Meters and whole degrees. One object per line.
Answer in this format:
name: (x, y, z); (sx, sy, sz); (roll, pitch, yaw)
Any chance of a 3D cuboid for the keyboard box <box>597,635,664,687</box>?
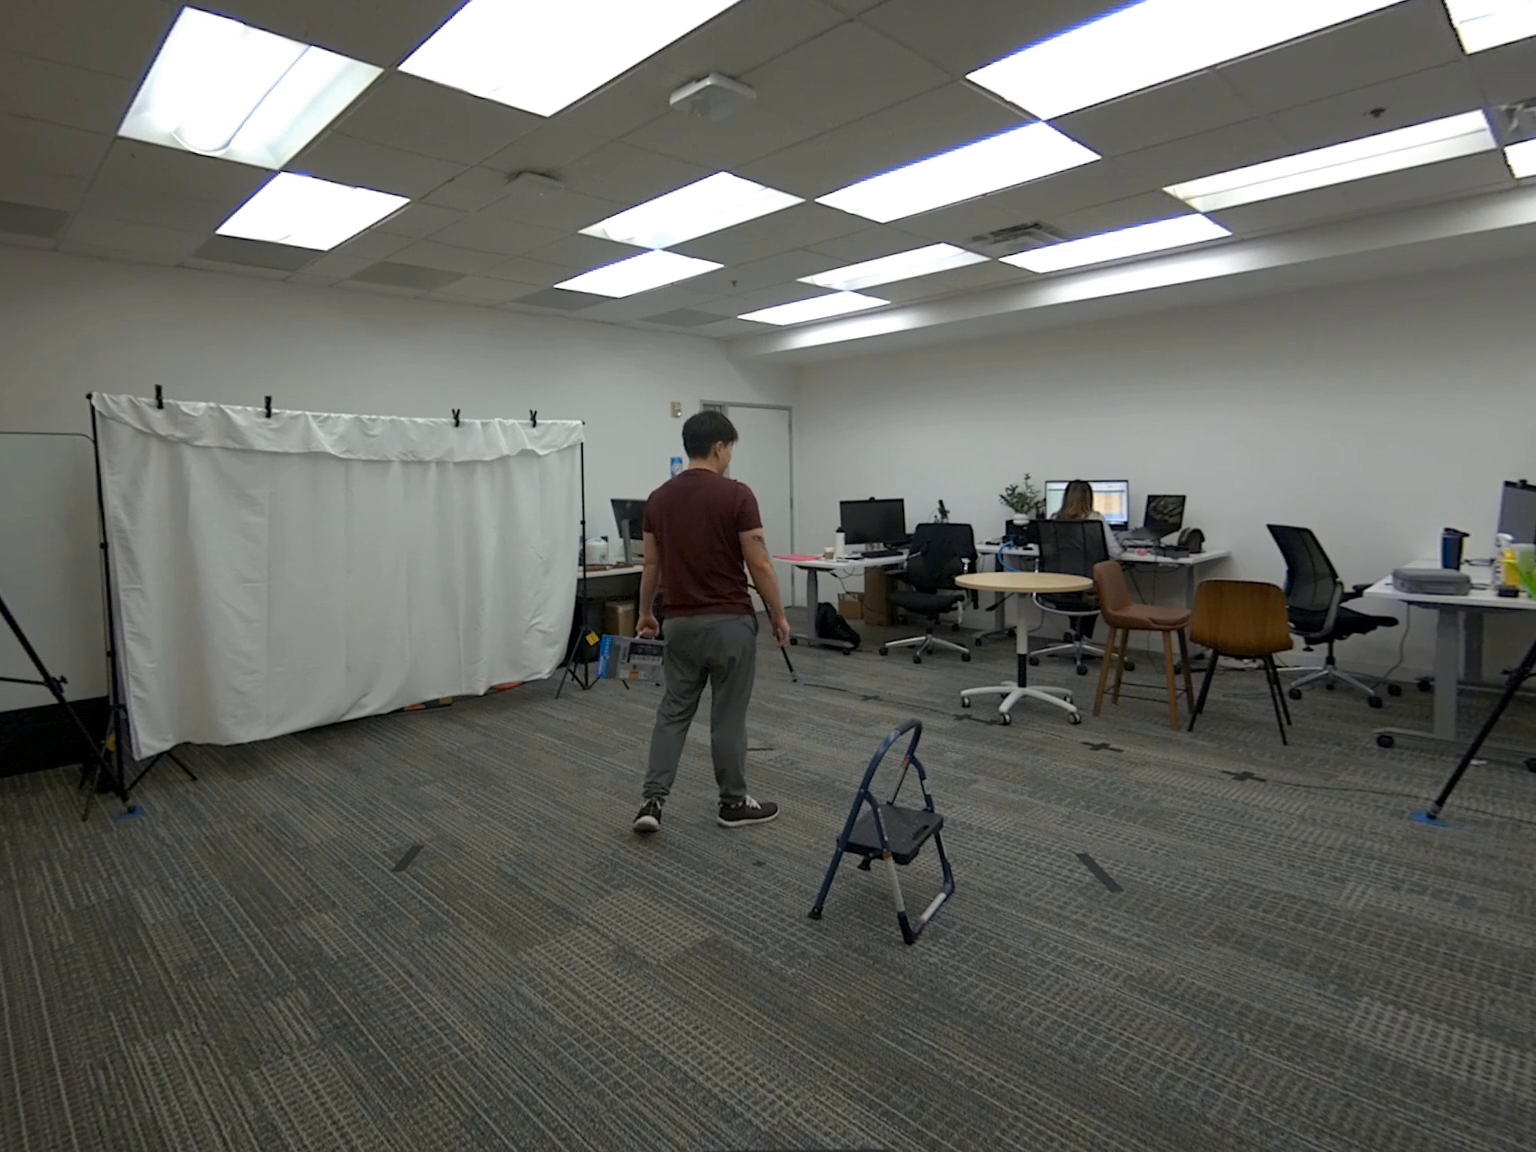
keyboard box: (-0.520, 0.354, 3.620); (0.061, 0.176, 0.422); (6, -4, 39)
